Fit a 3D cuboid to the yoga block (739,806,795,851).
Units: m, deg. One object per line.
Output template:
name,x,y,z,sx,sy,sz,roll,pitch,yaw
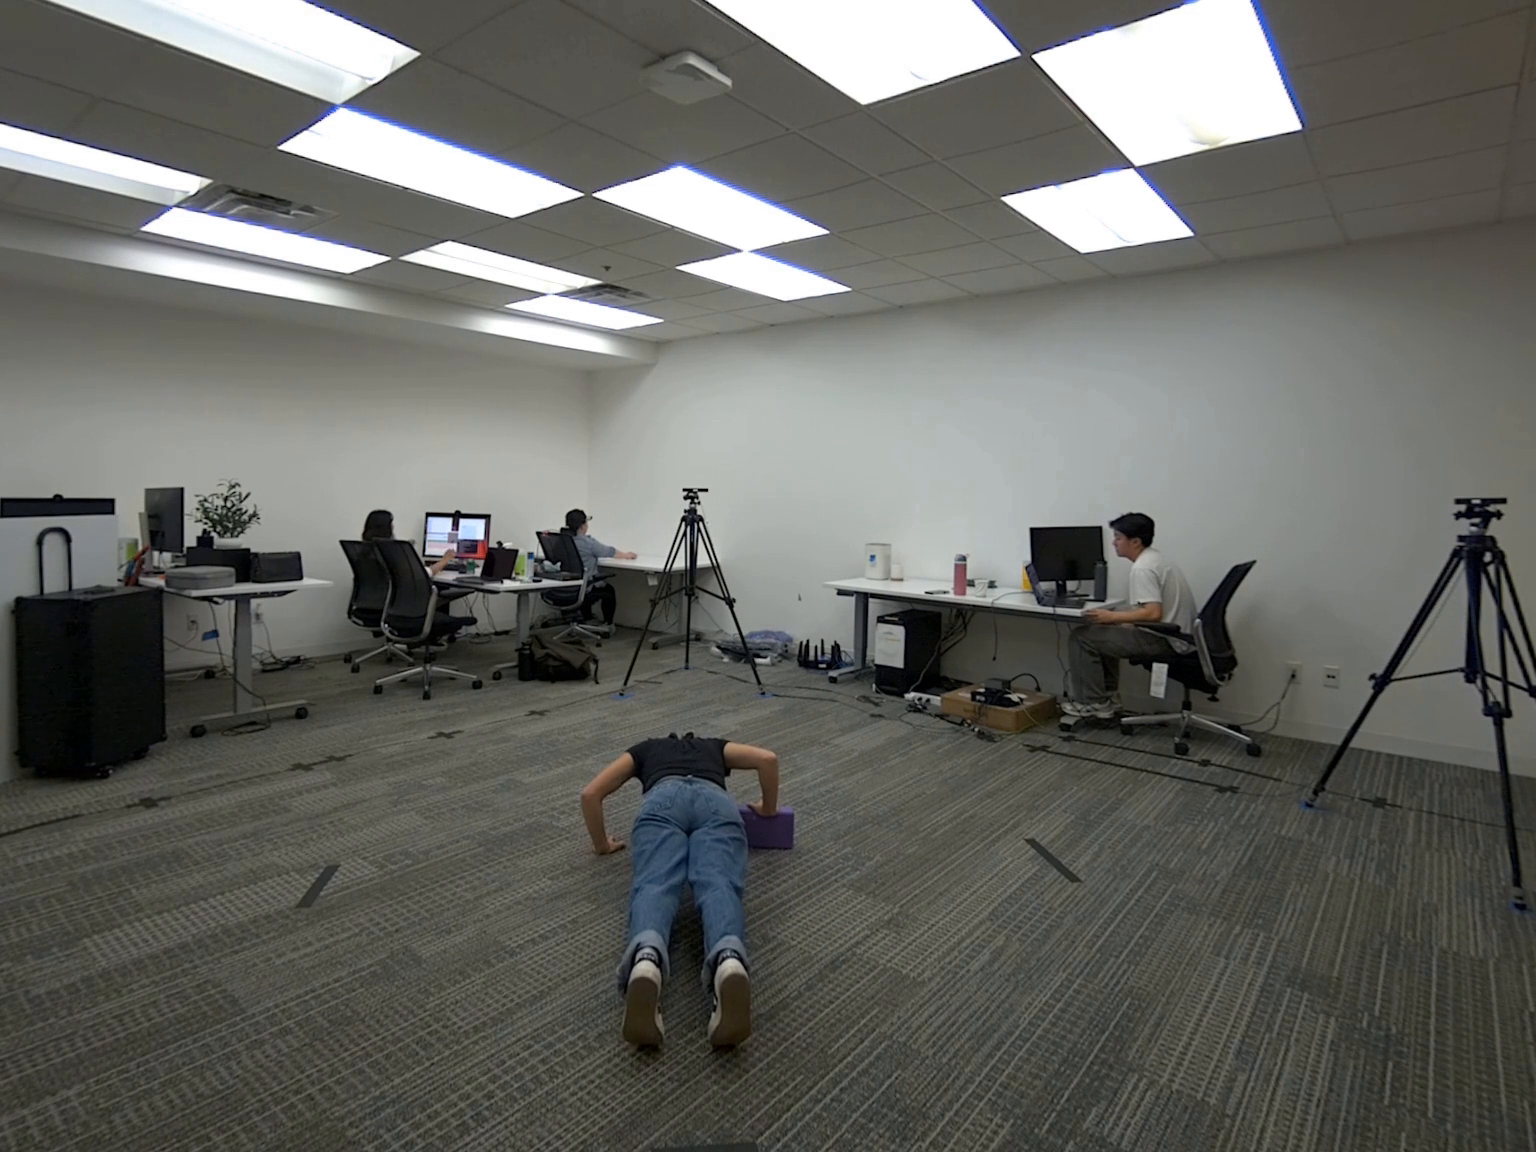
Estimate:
yoga block,-0.012,0.981,3.325,0.230,0.148,0.077,-1,5,1
